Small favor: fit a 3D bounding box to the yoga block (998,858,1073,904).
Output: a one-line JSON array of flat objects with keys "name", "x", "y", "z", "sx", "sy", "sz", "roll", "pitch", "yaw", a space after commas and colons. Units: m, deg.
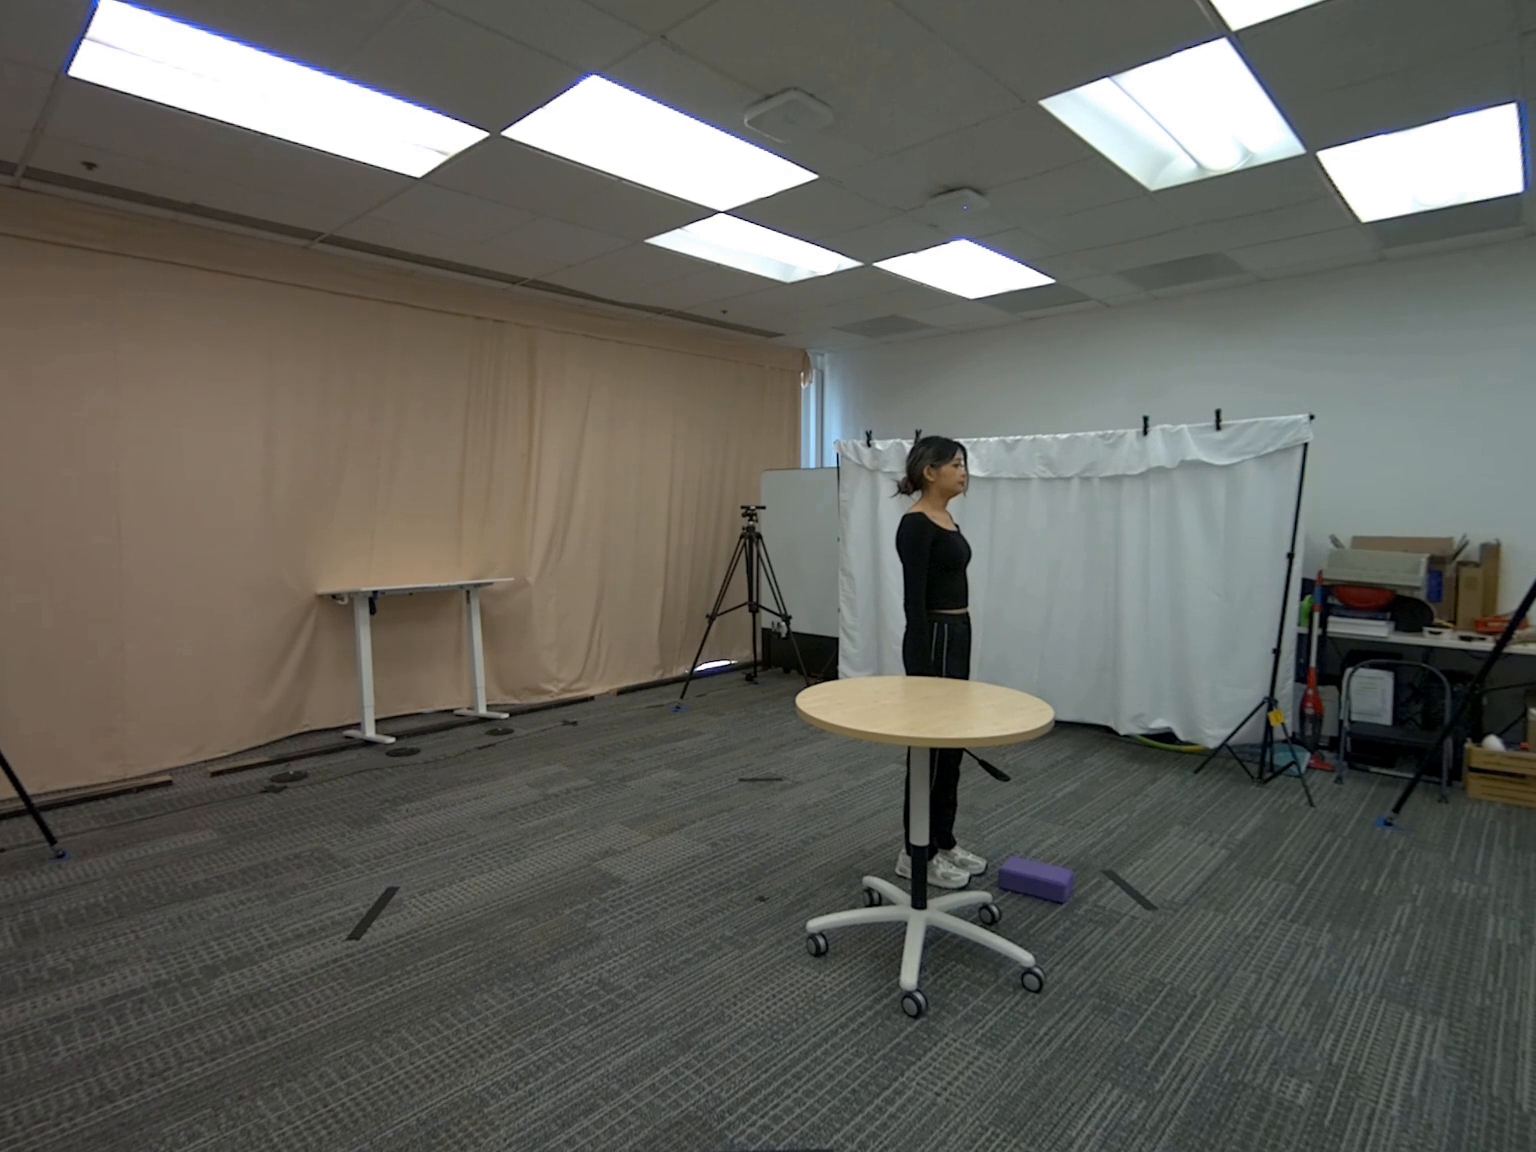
[{"name": "yoga block", "x": 0.979, "y": 1.100, "z": 3.041, "sx": 0.236, "sy": 0.076, "sz": 0.145, "roll": 3, "pitch": 4, "yaw": 34}]
